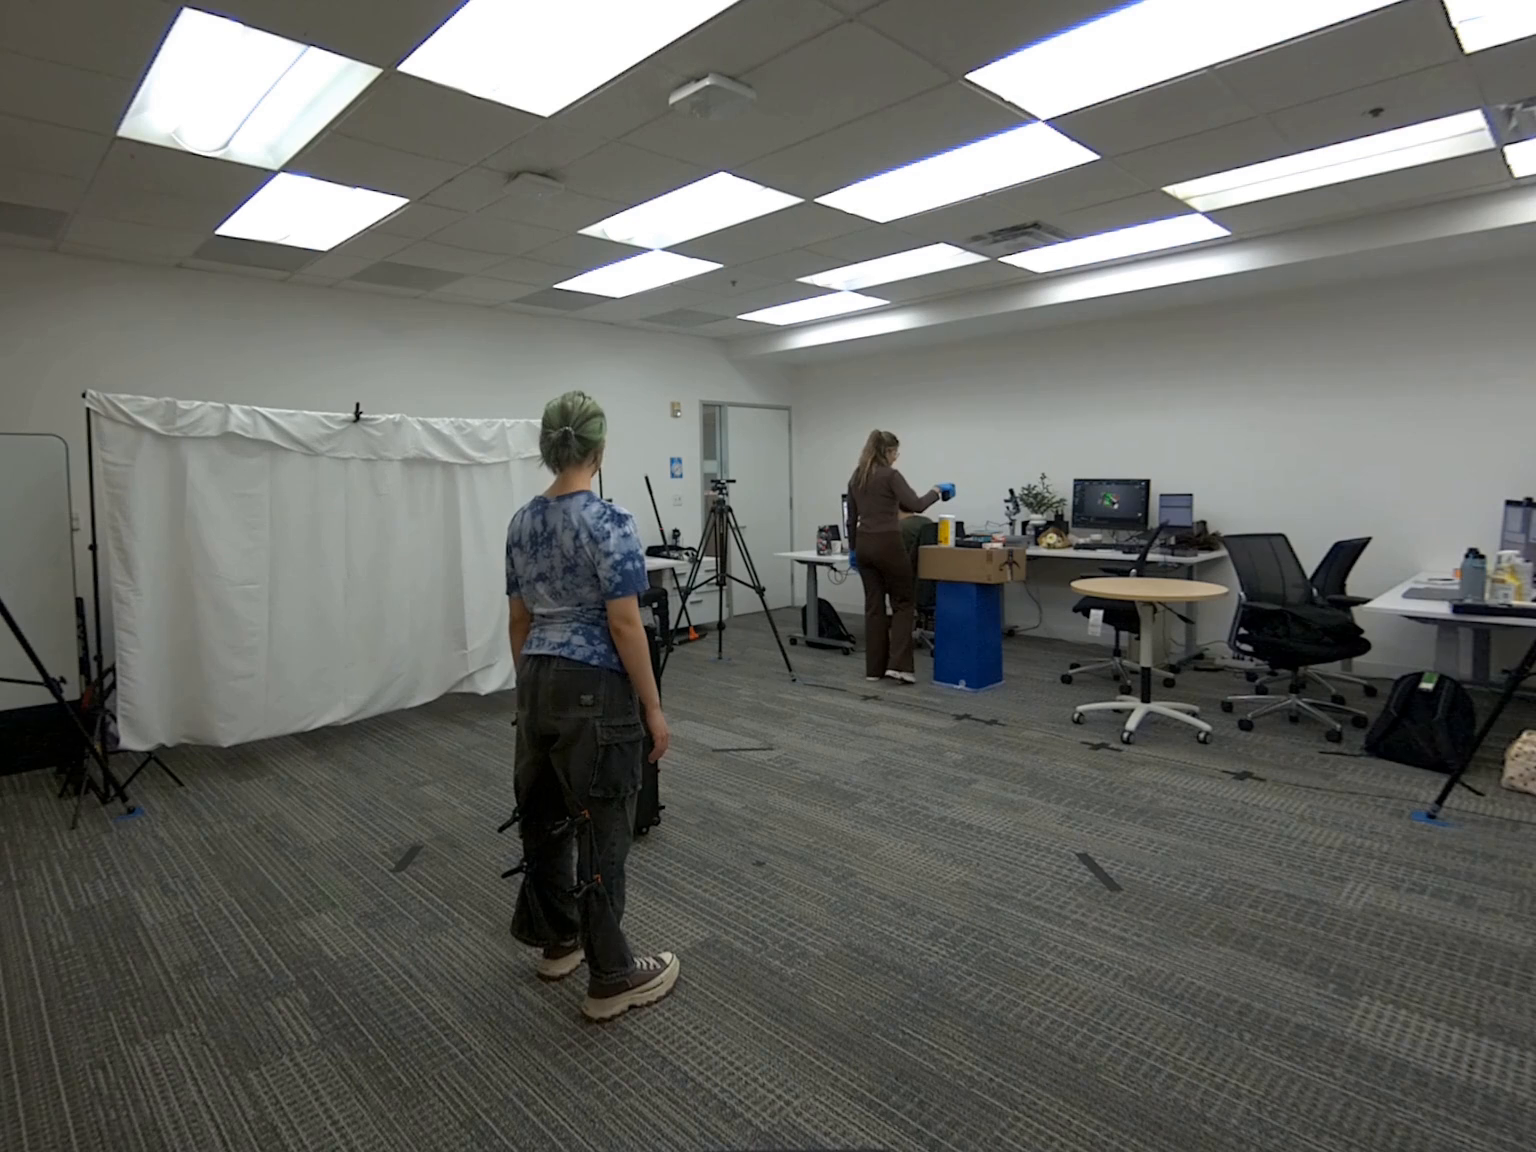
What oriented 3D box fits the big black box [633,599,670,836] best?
[{"bbox_3d":[-0.631,0.595,3.497,0.394,0.859,0.526,-1,4,-8],"label":"big black box"}]
